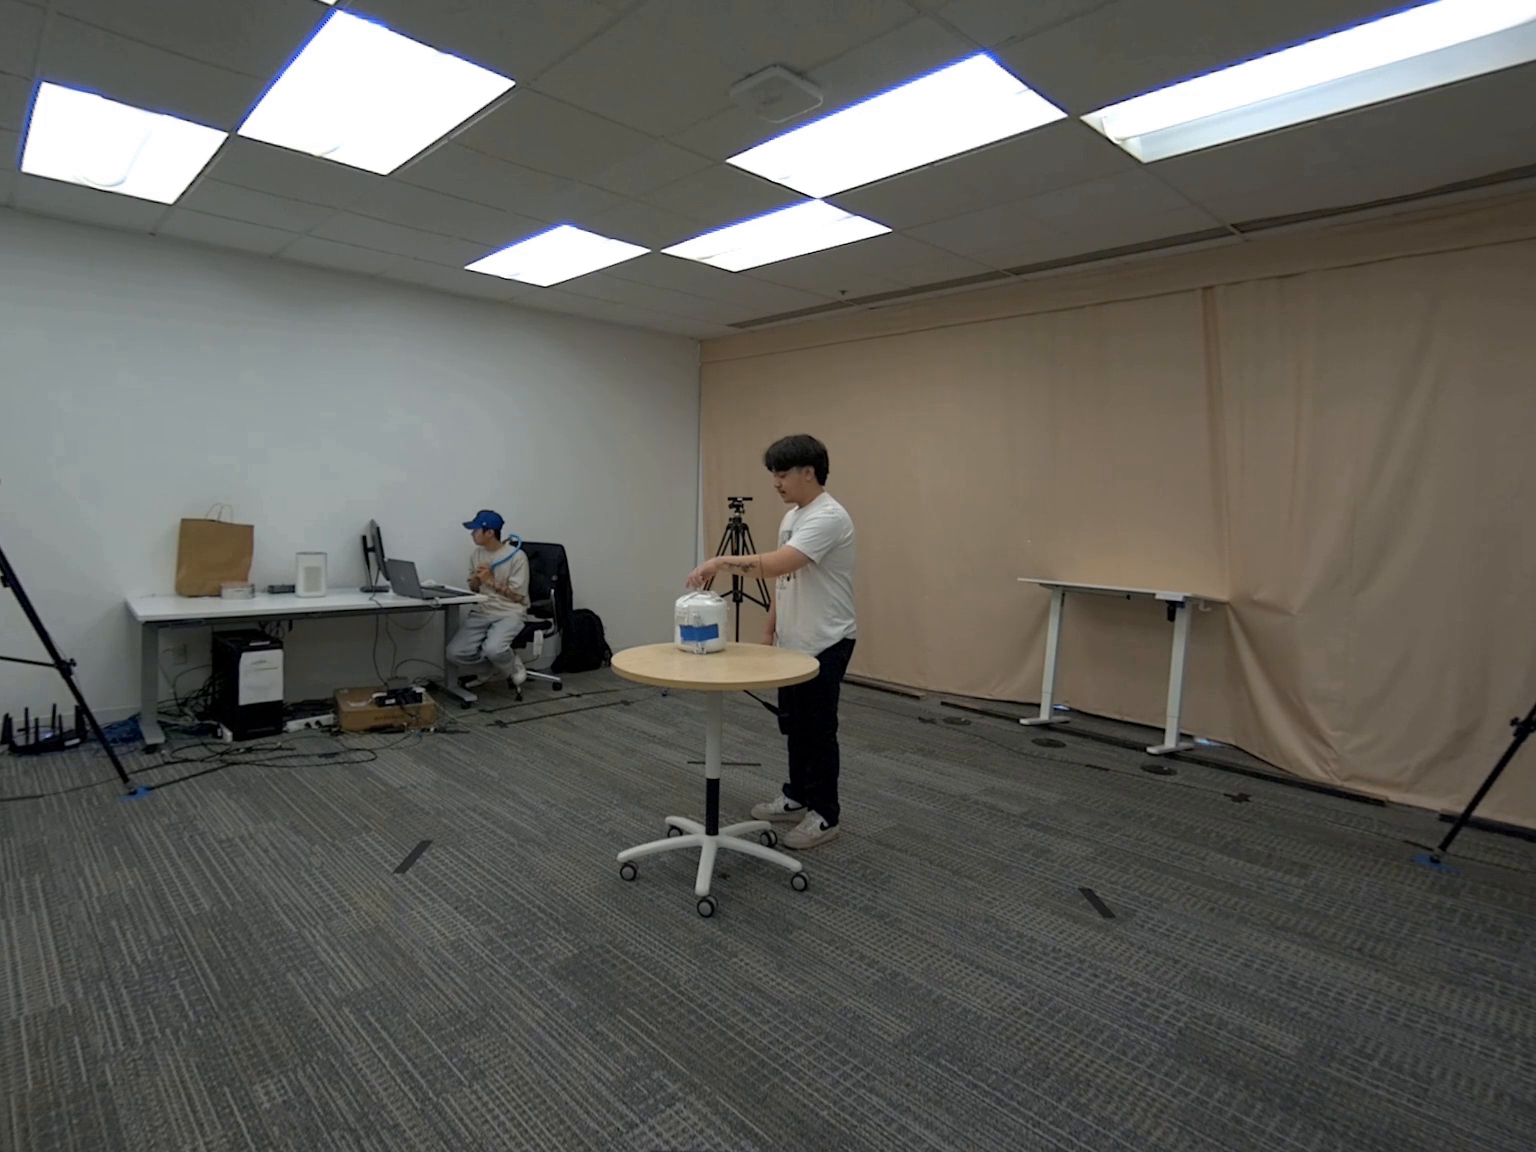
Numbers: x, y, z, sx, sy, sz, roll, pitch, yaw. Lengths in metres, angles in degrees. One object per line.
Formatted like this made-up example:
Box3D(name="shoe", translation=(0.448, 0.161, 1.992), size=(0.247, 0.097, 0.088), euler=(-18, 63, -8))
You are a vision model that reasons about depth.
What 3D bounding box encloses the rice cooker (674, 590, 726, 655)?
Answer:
Box3D(name="rice cooker", translation=(-0.273, 0.174, 3.294), size=(0.215, 0.232, 0.223), euler=(-2, 7, -45))
